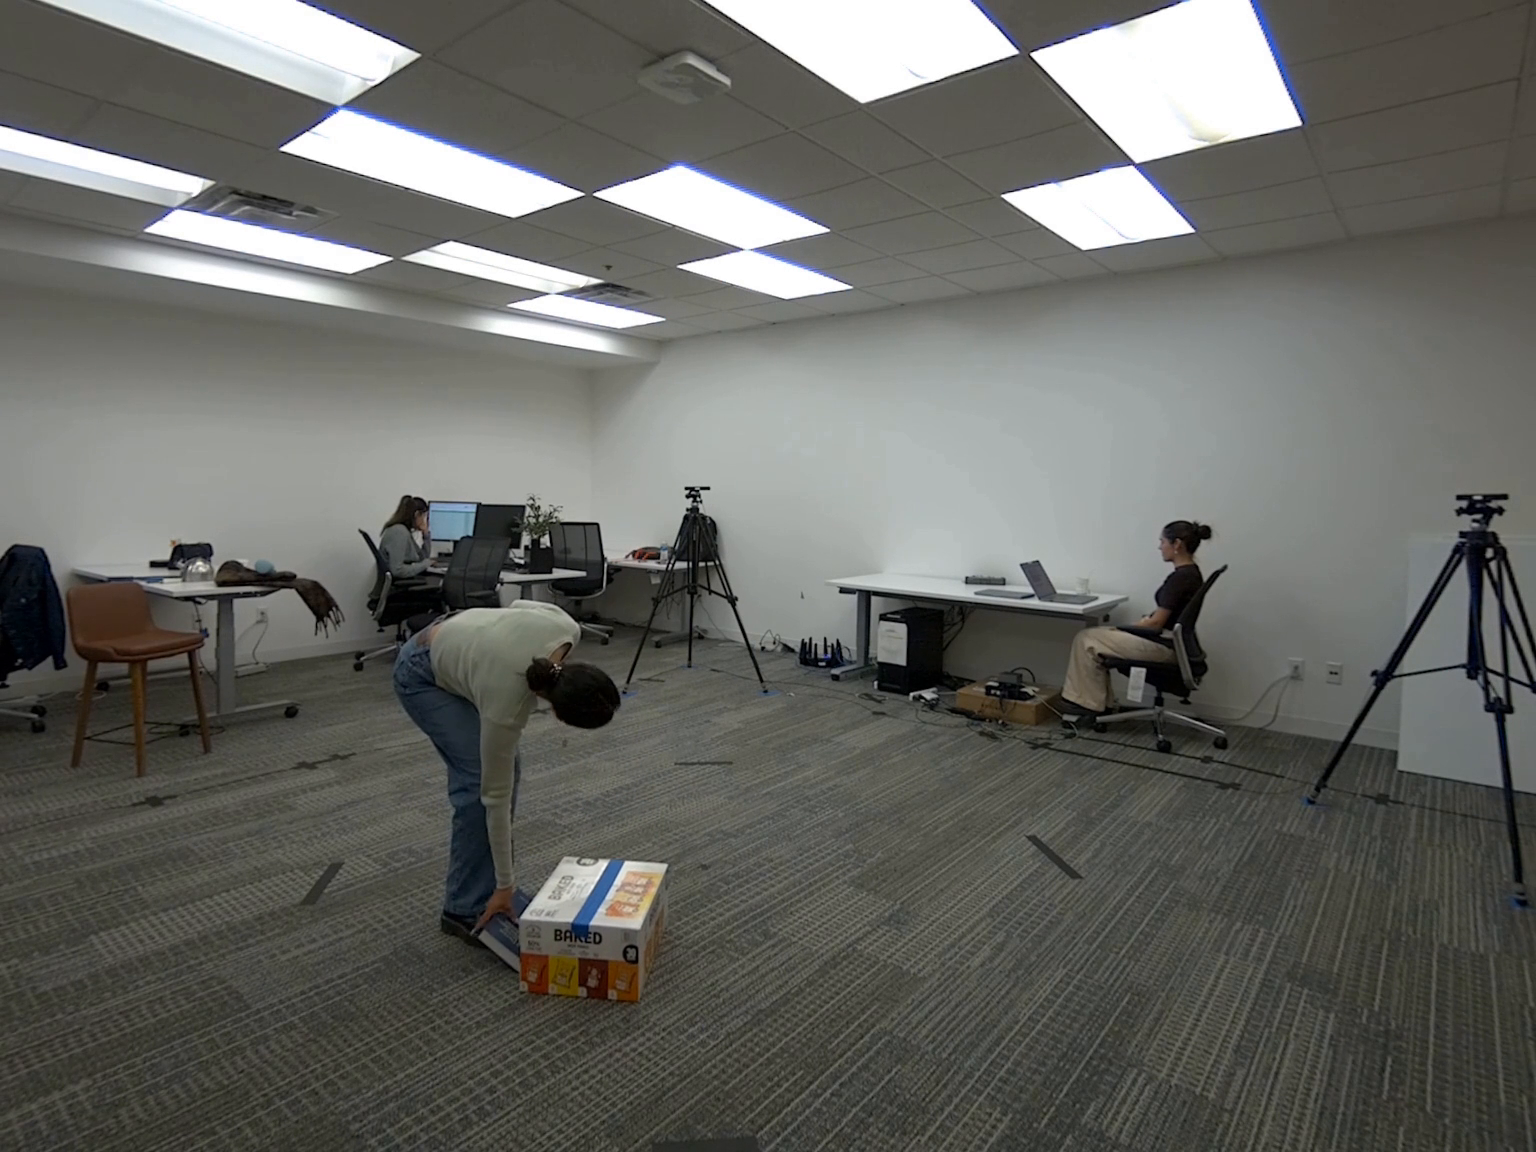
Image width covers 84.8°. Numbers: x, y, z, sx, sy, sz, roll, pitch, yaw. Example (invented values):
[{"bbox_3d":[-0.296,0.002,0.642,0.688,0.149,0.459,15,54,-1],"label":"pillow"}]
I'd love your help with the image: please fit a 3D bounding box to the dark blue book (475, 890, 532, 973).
[{"bbox_3d":[-0.752,1.058,2.548,0.164,0.045,0.244,34,10,3],"label":"dark blue book"}]
